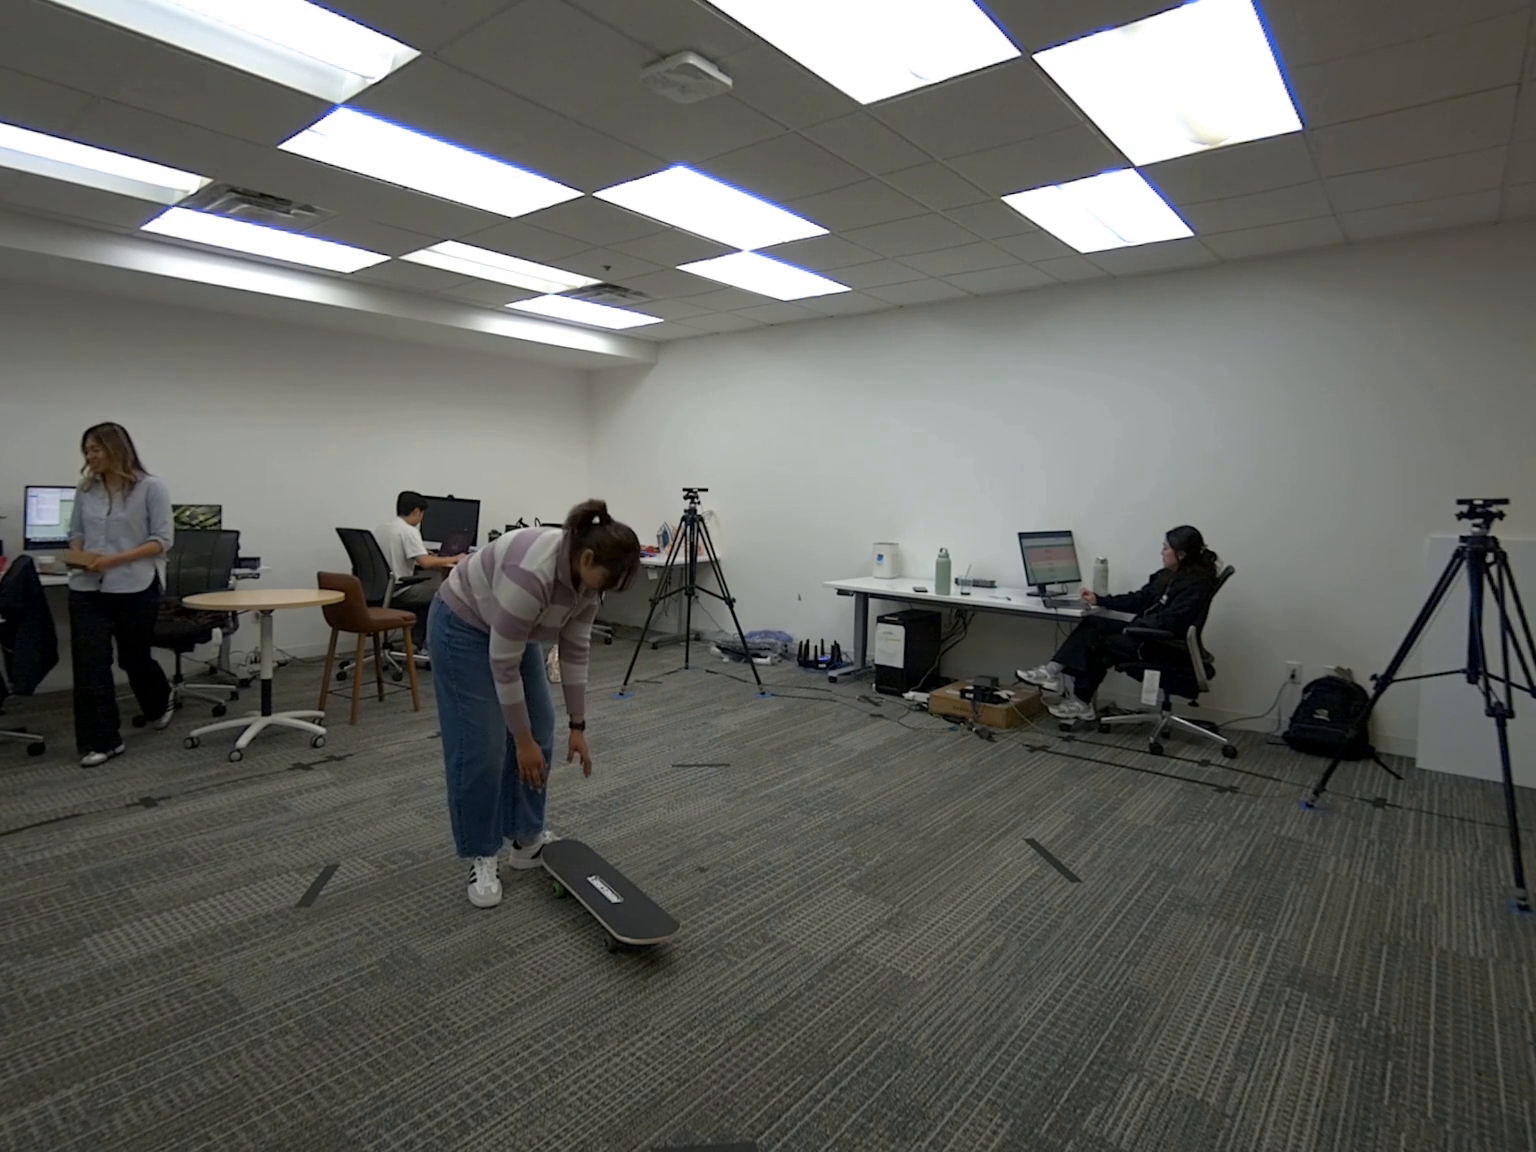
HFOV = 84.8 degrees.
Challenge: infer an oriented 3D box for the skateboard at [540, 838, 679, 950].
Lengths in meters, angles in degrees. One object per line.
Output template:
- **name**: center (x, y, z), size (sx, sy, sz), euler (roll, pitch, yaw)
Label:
- **skateboard**: center (-0.541, 1.039, 2.749), size (0.188, 0.110, 0.811), euler (-3, 6, -35)
